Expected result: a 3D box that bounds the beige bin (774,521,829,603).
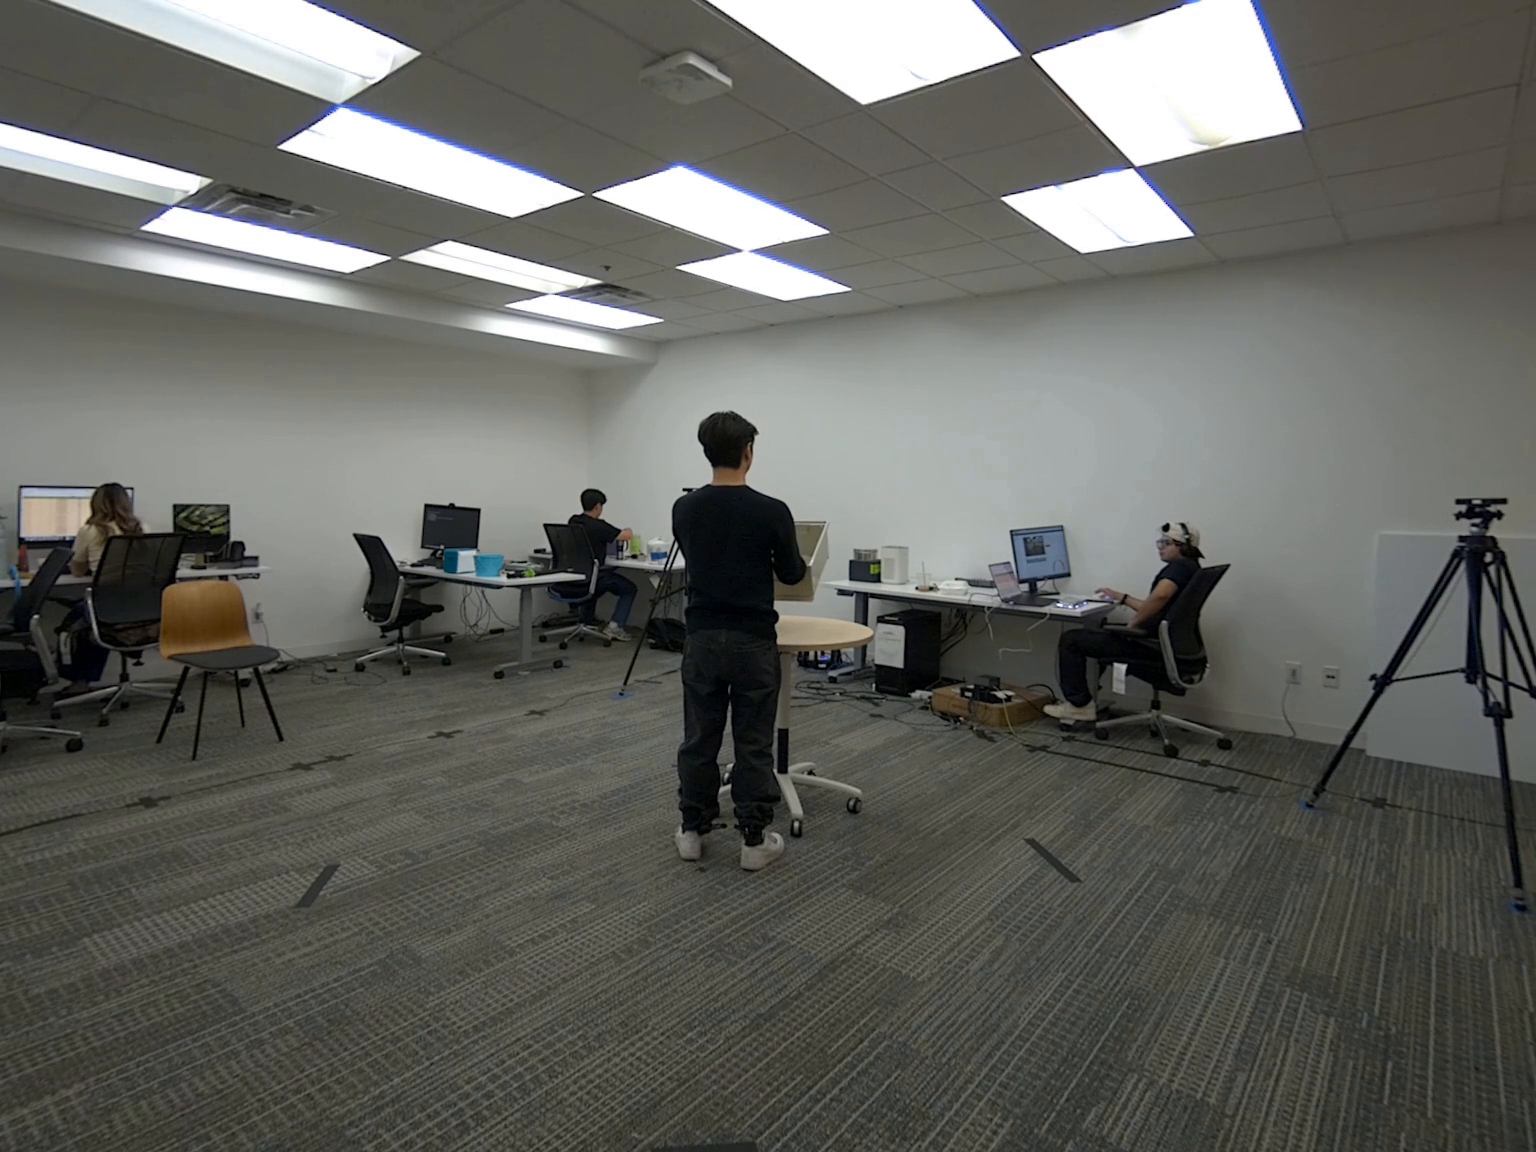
[{"bbox_3d":[0.057,-0.069,3.803,0.384,0.184,0.426,0,28,16],"label":"beige bin"}]
